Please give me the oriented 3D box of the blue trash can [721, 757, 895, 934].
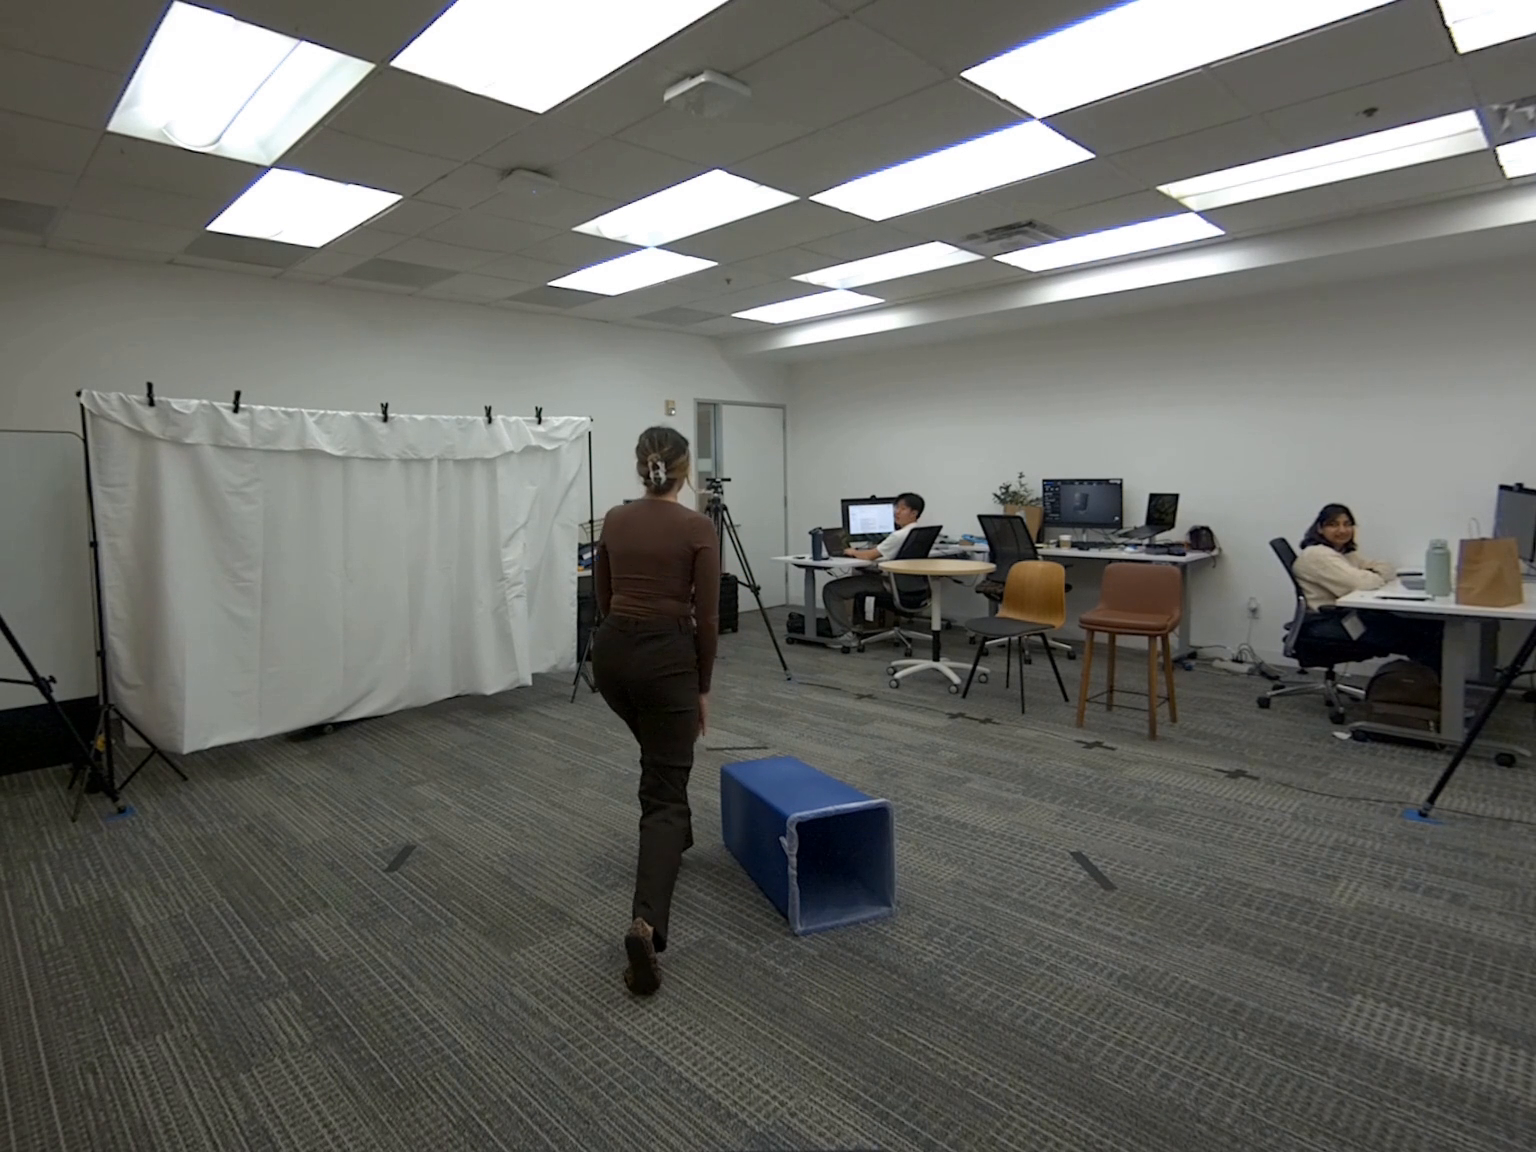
[{"bbox_3d":[0.104,0.879,2.992,0.367,0.377,0.728,-4,5,-21],"label":"blue trash can"}]
